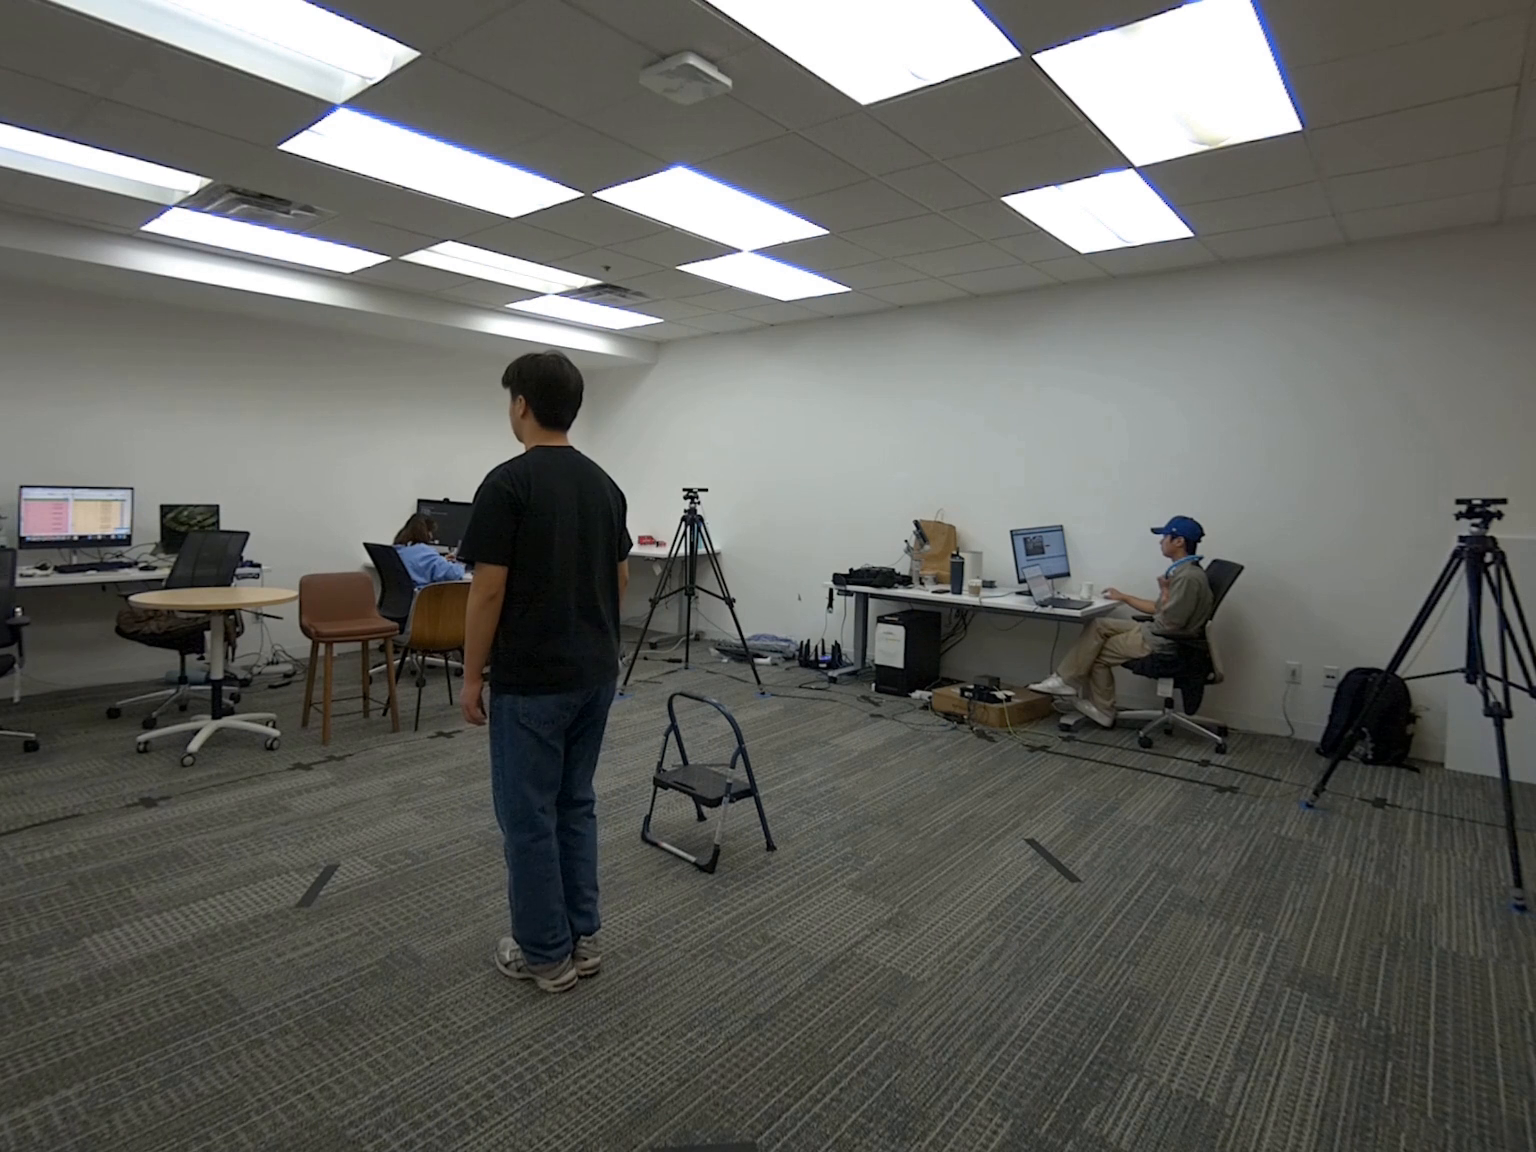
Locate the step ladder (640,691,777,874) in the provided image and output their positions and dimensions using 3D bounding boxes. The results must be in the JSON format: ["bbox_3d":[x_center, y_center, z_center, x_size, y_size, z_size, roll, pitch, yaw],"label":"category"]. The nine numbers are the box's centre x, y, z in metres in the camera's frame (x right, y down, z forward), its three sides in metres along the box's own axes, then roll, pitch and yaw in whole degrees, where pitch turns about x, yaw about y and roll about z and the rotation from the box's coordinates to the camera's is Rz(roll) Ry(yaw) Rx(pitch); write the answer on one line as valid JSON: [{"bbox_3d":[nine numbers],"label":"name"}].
[{"bbox_3d":[-0.244,0.742,3.315,0.445,0.604,0.339,4,5,44],"label":"step ladder"}]
